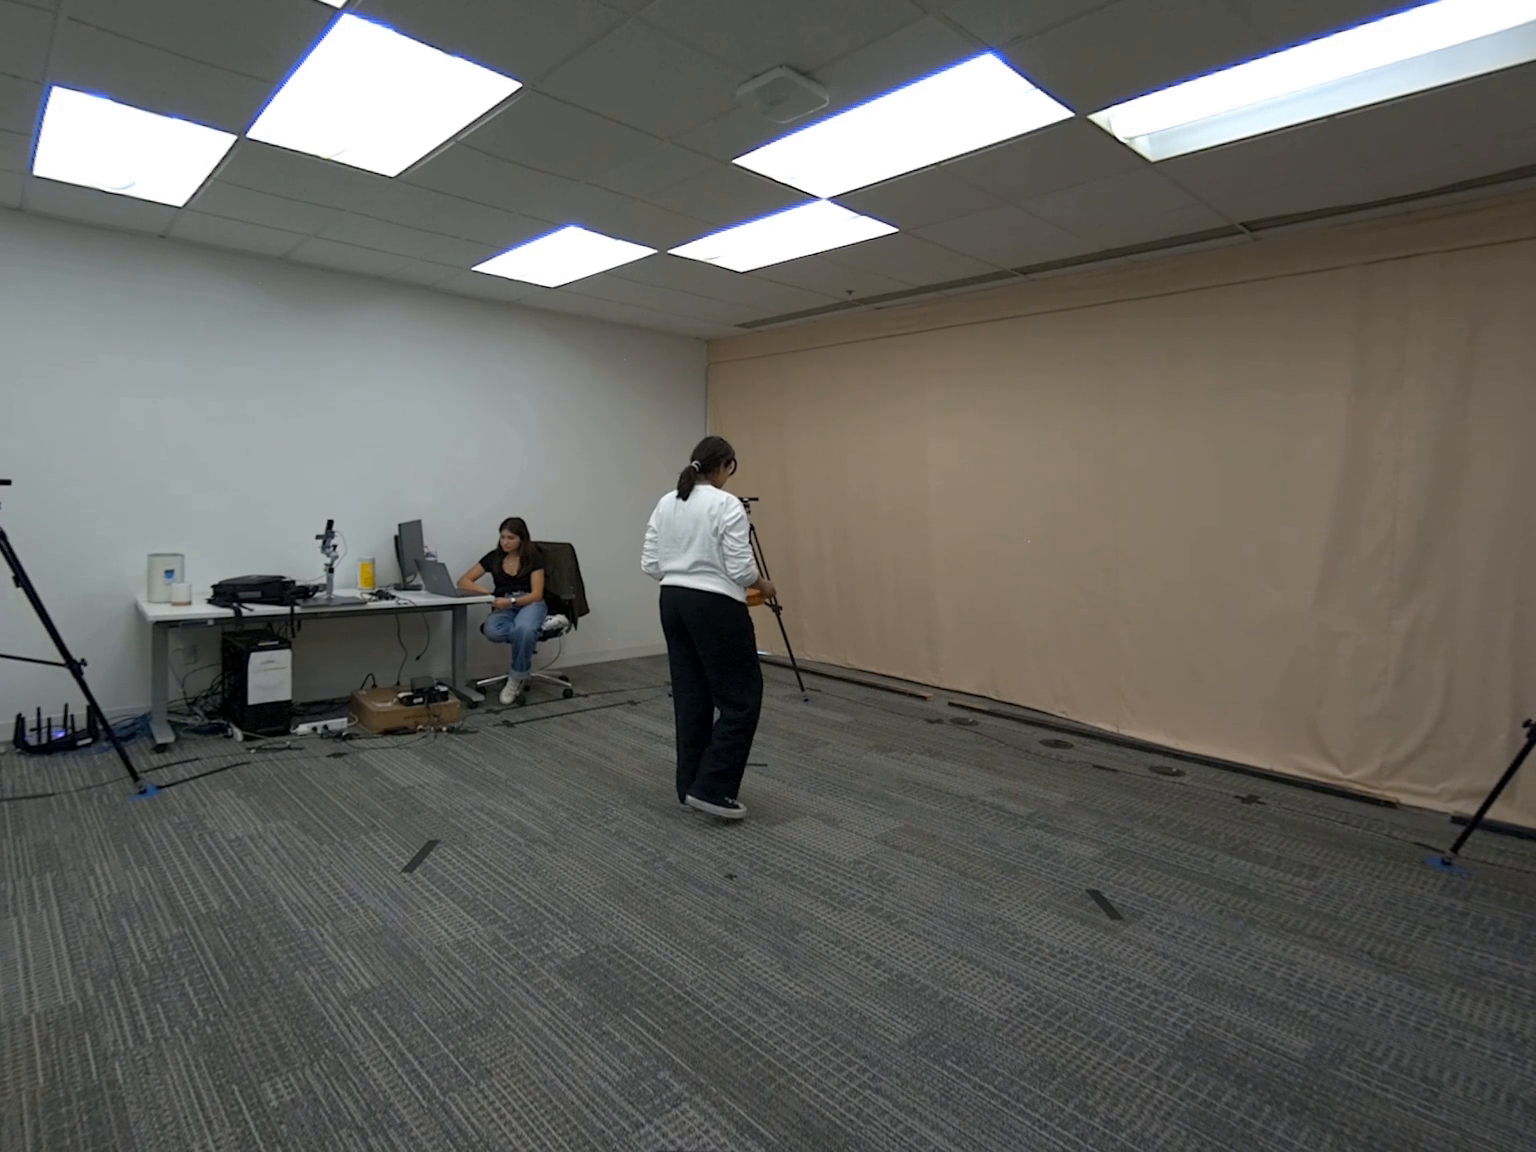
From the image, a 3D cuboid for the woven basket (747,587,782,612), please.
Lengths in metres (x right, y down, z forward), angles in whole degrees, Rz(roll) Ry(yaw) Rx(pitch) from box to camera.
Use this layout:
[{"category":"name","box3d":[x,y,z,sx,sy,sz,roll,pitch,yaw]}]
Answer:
[{"category":"woven basket","box3d":[-0.156,0.089,4.020,0.359,0.073,0.248,8,13,37]}]
